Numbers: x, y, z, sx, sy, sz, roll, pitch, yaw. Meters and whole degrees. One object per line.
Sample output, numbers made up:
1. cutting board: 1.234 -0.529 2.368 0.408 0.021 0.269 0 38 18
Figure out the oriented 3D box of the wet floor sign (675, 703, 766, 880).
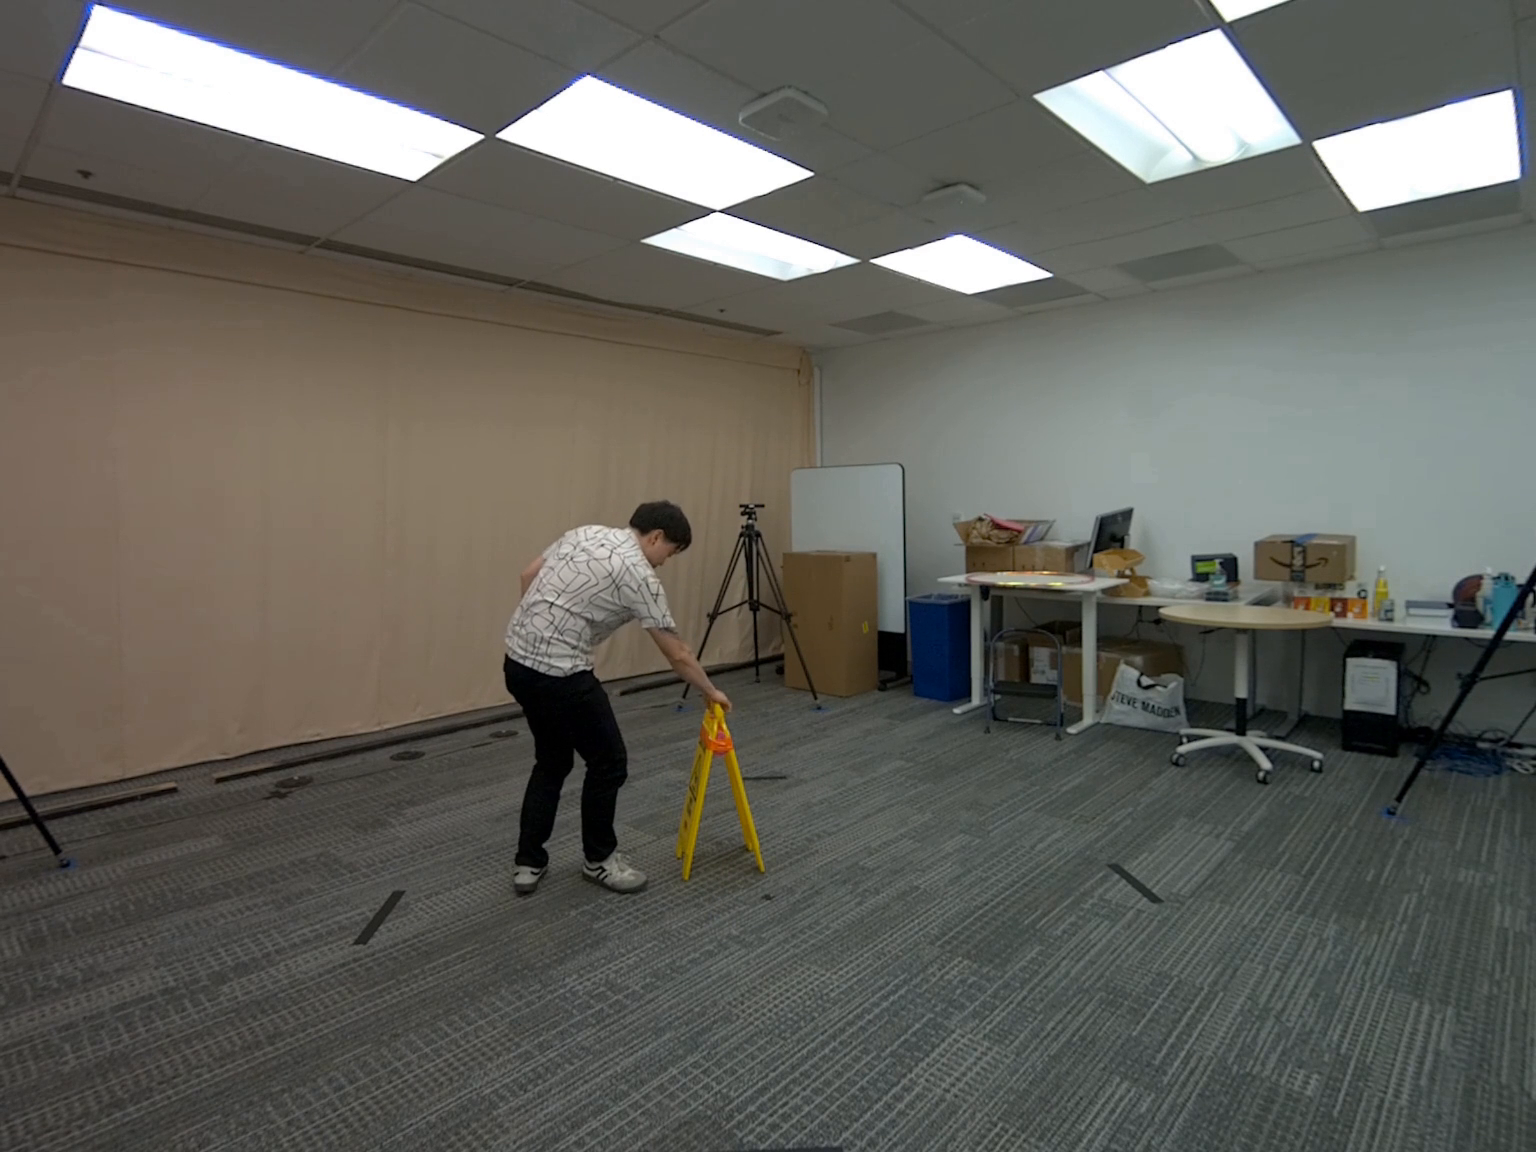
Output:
1. wet floor sign: -0.198 0.792 3.265 0.286 0.645 0.286 -2 2 -13
